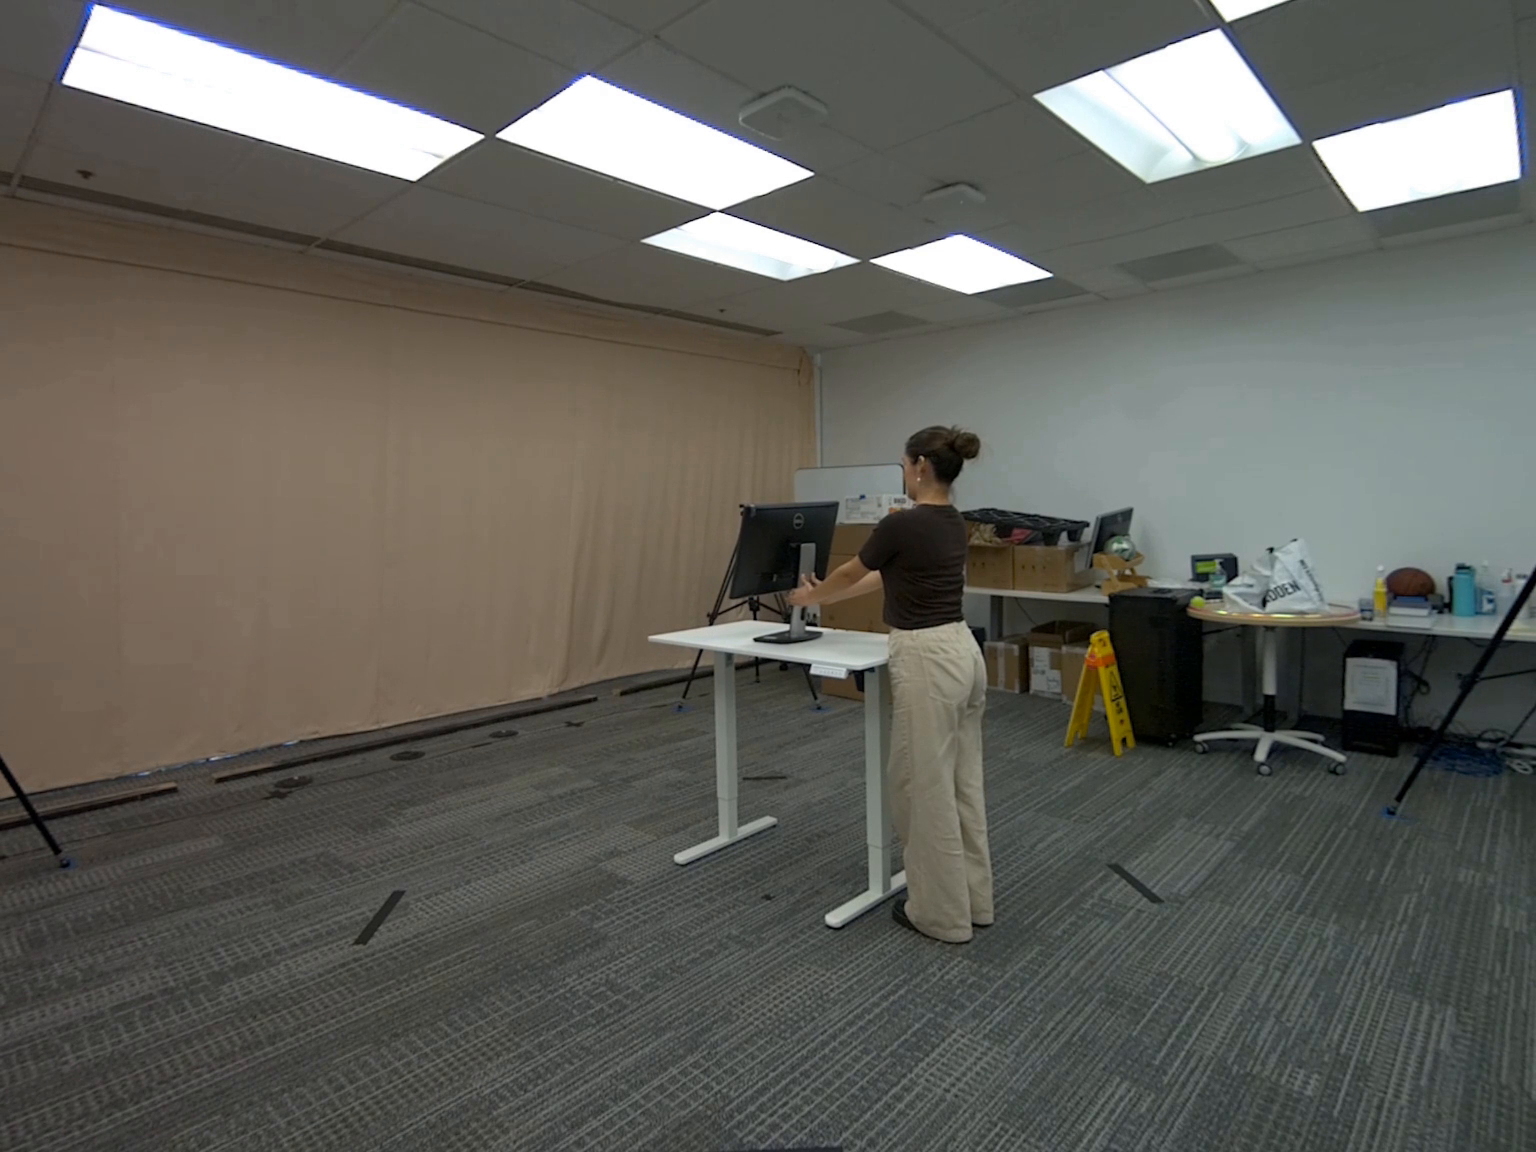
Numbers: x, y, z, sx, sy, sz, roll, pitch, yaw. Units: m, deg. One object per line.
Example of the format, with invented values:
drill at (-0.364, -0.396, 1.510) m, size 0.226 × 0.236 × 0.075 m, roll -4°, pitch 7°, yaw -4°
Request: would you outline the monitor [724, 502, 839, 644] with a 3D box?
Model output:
monitor at (0.094, -0.012, 3.173) m, size 0.193 × 0.521 × 0.523 m, roll 3°, pitch 6°, yaw 42°
